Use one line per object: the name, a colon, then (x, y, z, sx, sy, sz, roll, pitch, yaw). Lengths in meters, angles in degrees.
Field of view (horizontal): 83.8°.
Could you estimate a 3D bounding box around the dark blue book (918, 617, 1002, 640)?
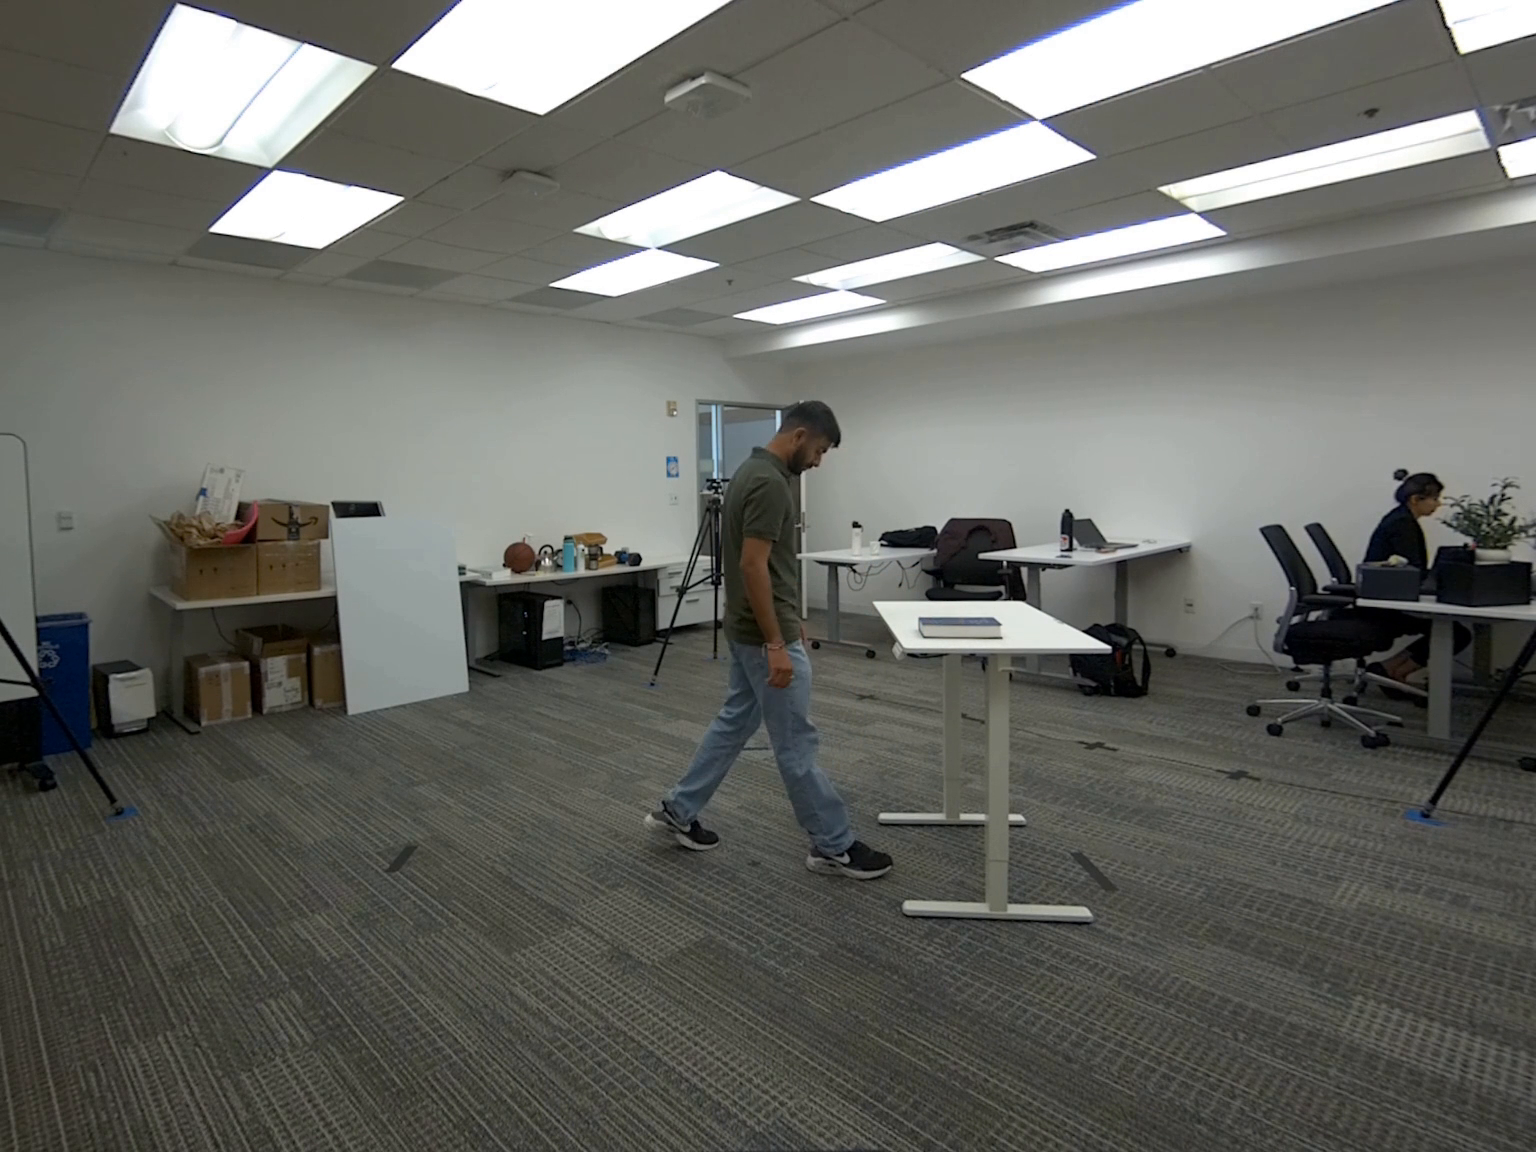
dark blue book: (0.622, 0.167, 2.762, 0.247, 0.045, 0.163, 0, 6, 8)
